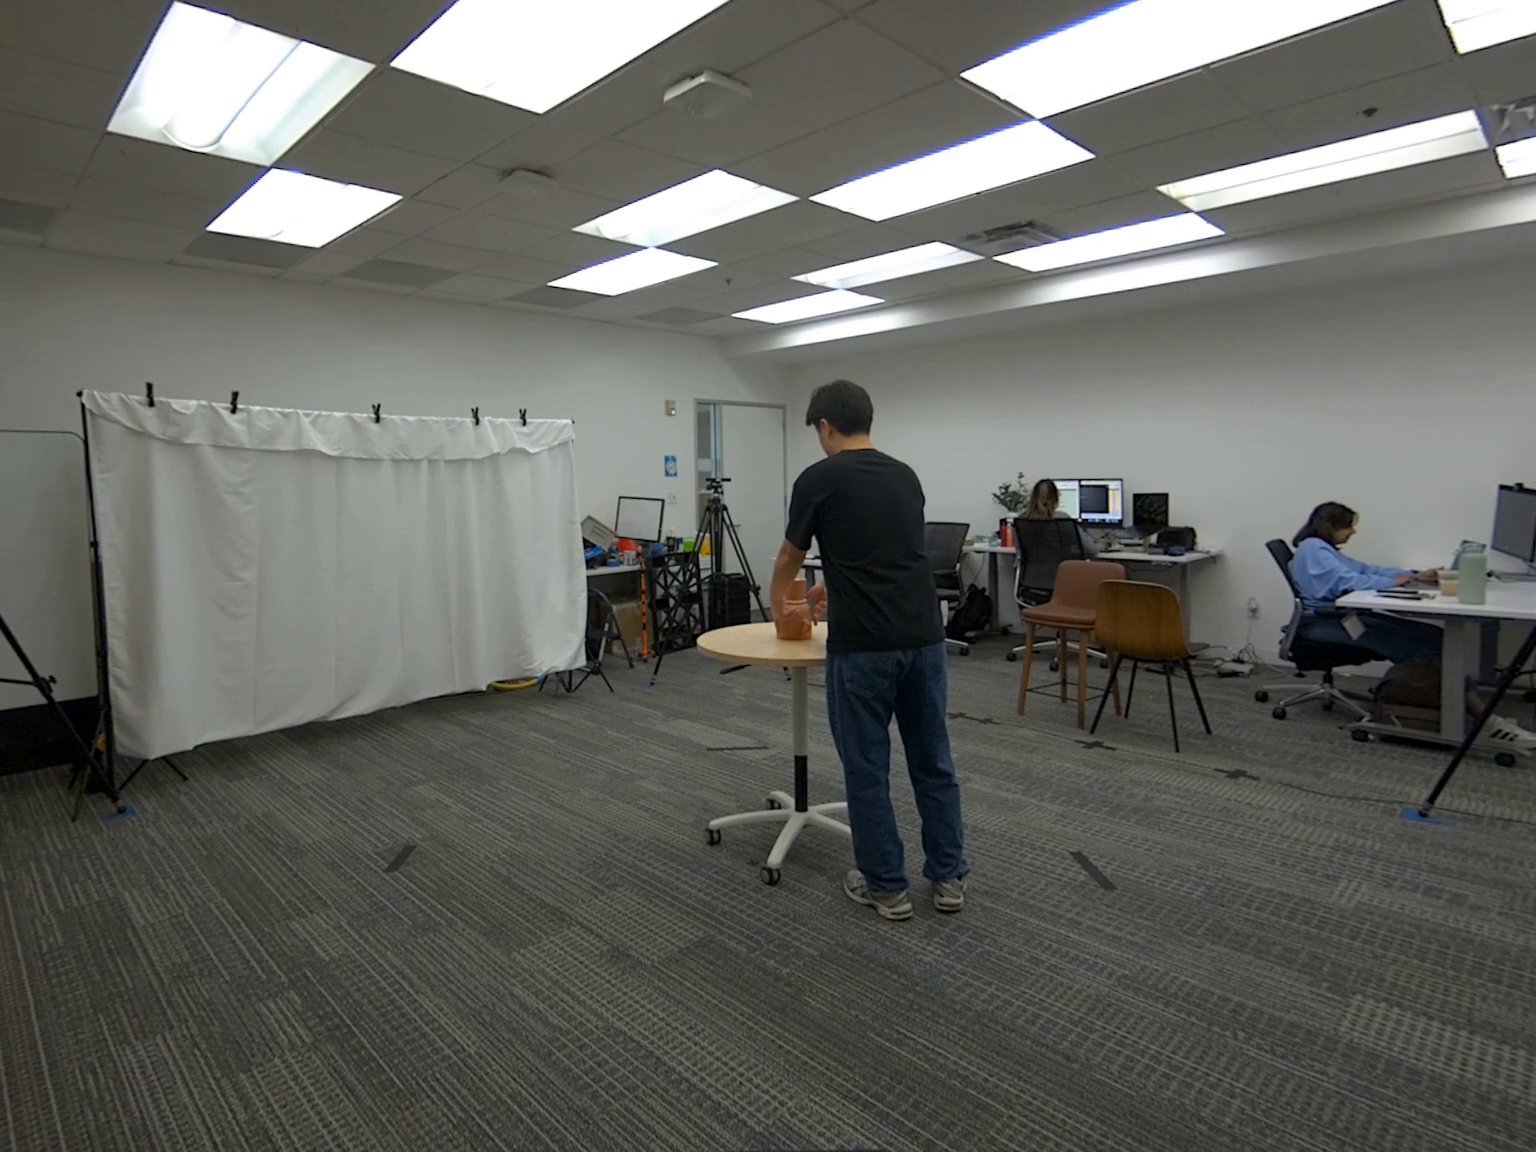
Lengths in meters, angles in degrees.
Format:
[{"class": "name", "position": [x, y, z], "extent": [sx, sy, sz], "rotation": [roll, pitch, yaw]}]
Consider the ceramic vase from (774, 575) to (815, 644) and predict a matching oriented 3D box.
[{"class": "ceramic vase", "position": [0.106, 0.121, 3.208], "extent": [0.162, 0.219, 0.132], "rotation": [3, 4, 18]}]
